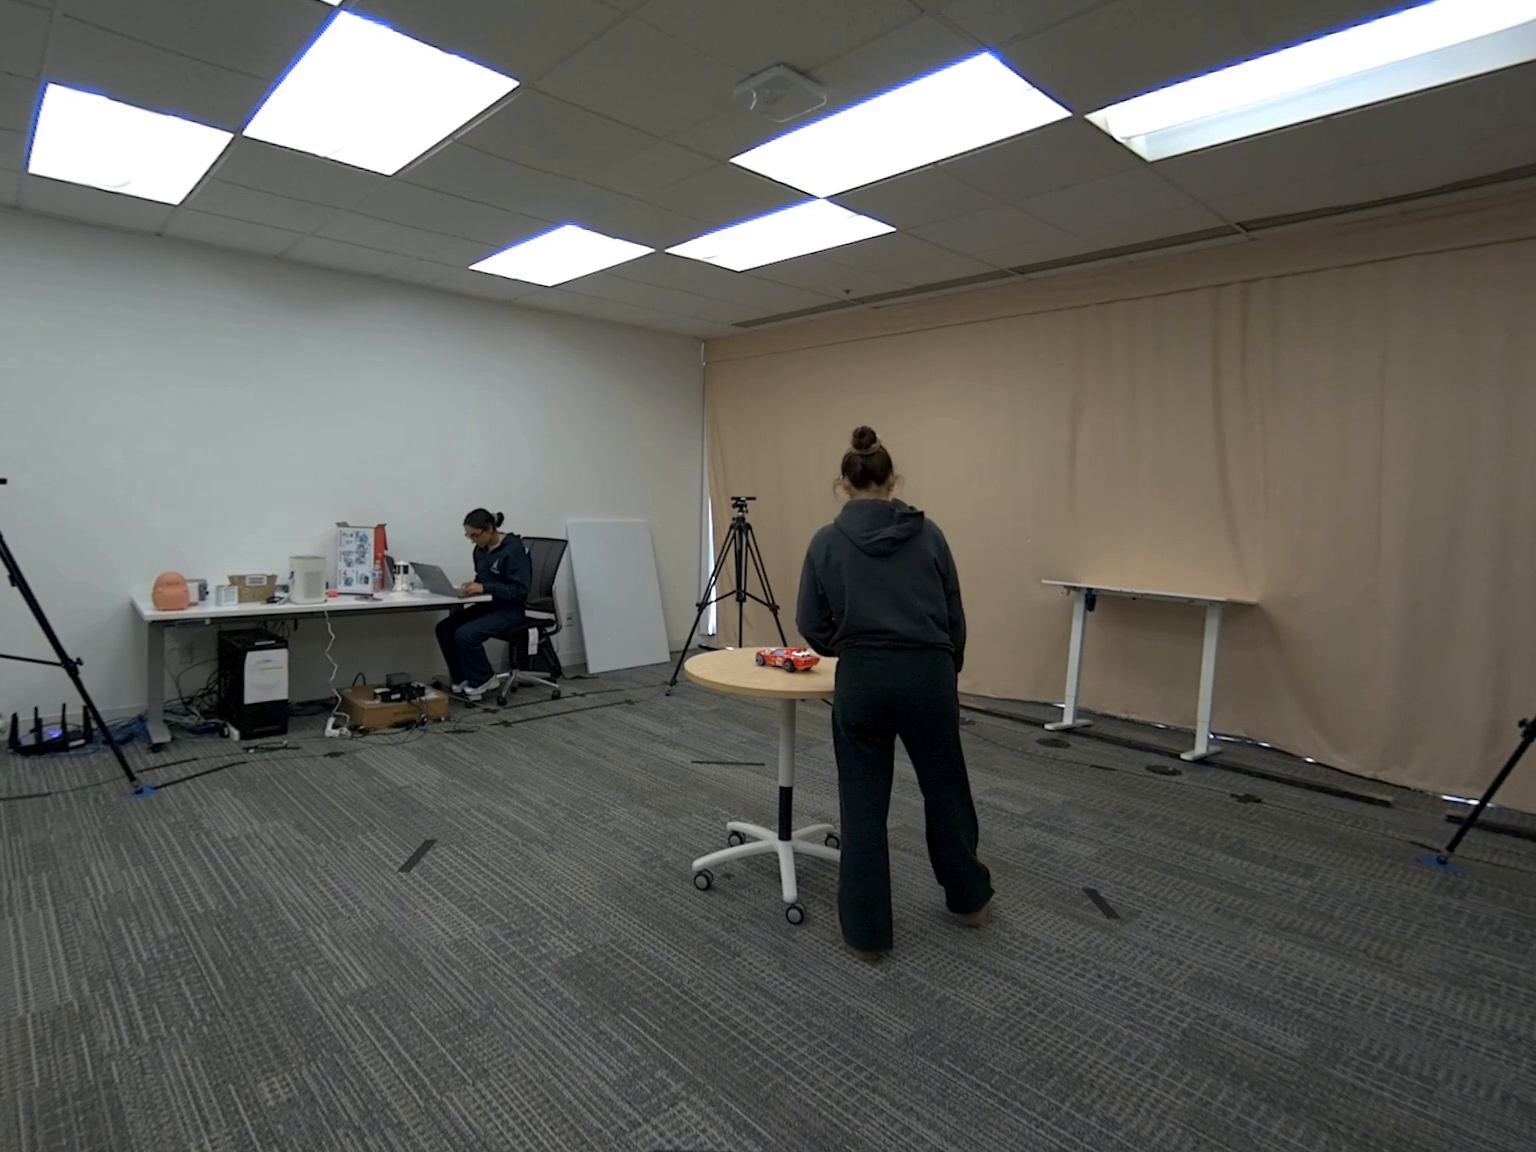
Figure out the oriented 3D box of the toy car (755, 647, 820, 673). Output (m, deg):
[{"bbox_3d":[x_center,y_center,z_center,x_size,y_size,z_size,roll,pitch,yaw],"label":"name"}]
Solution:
[{"bbox_3d":[0.066,0.303,3.044,0.127,0.083,0.260,-4,-3,-45],"label":"toy car"}]
